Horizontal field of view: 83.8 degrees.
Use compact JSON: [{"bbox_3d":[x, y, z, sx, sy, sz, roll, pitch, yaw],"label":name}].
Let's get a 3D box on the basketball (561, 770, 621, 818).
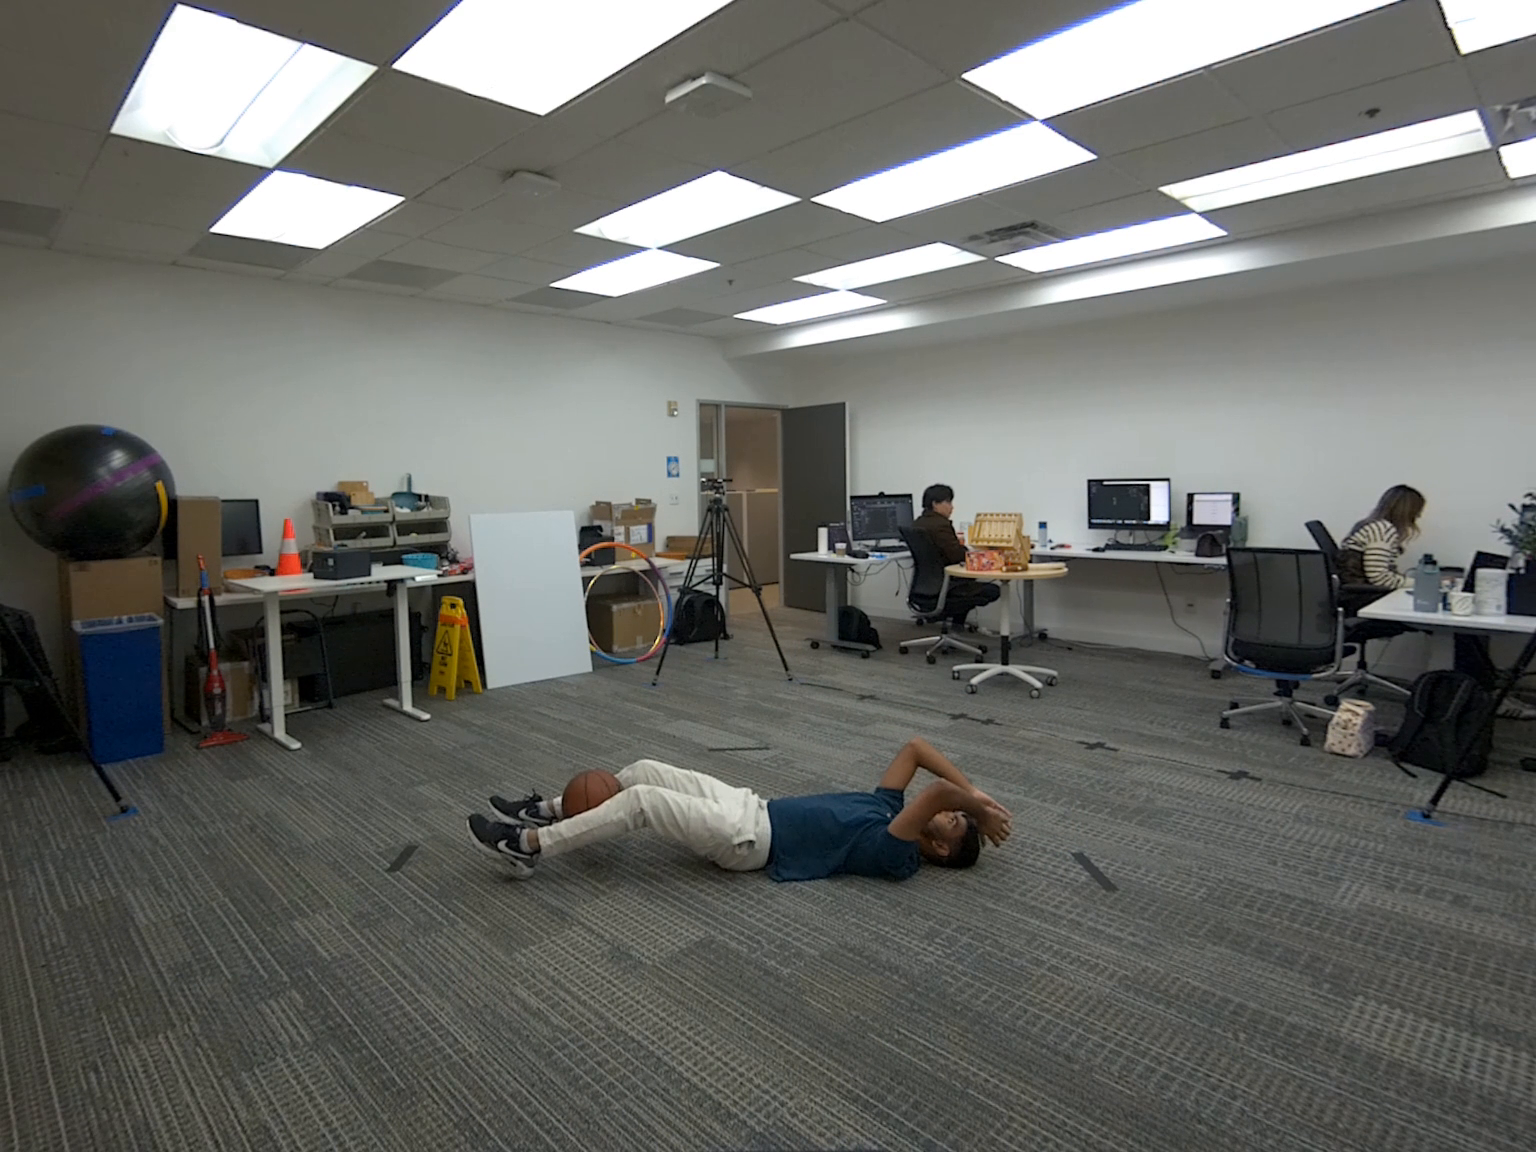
[{"bbox_3d":[-0.652,0.835,3.163,0.236,0.235,0.237,-1,5,-2],"label":"basketball"}]
